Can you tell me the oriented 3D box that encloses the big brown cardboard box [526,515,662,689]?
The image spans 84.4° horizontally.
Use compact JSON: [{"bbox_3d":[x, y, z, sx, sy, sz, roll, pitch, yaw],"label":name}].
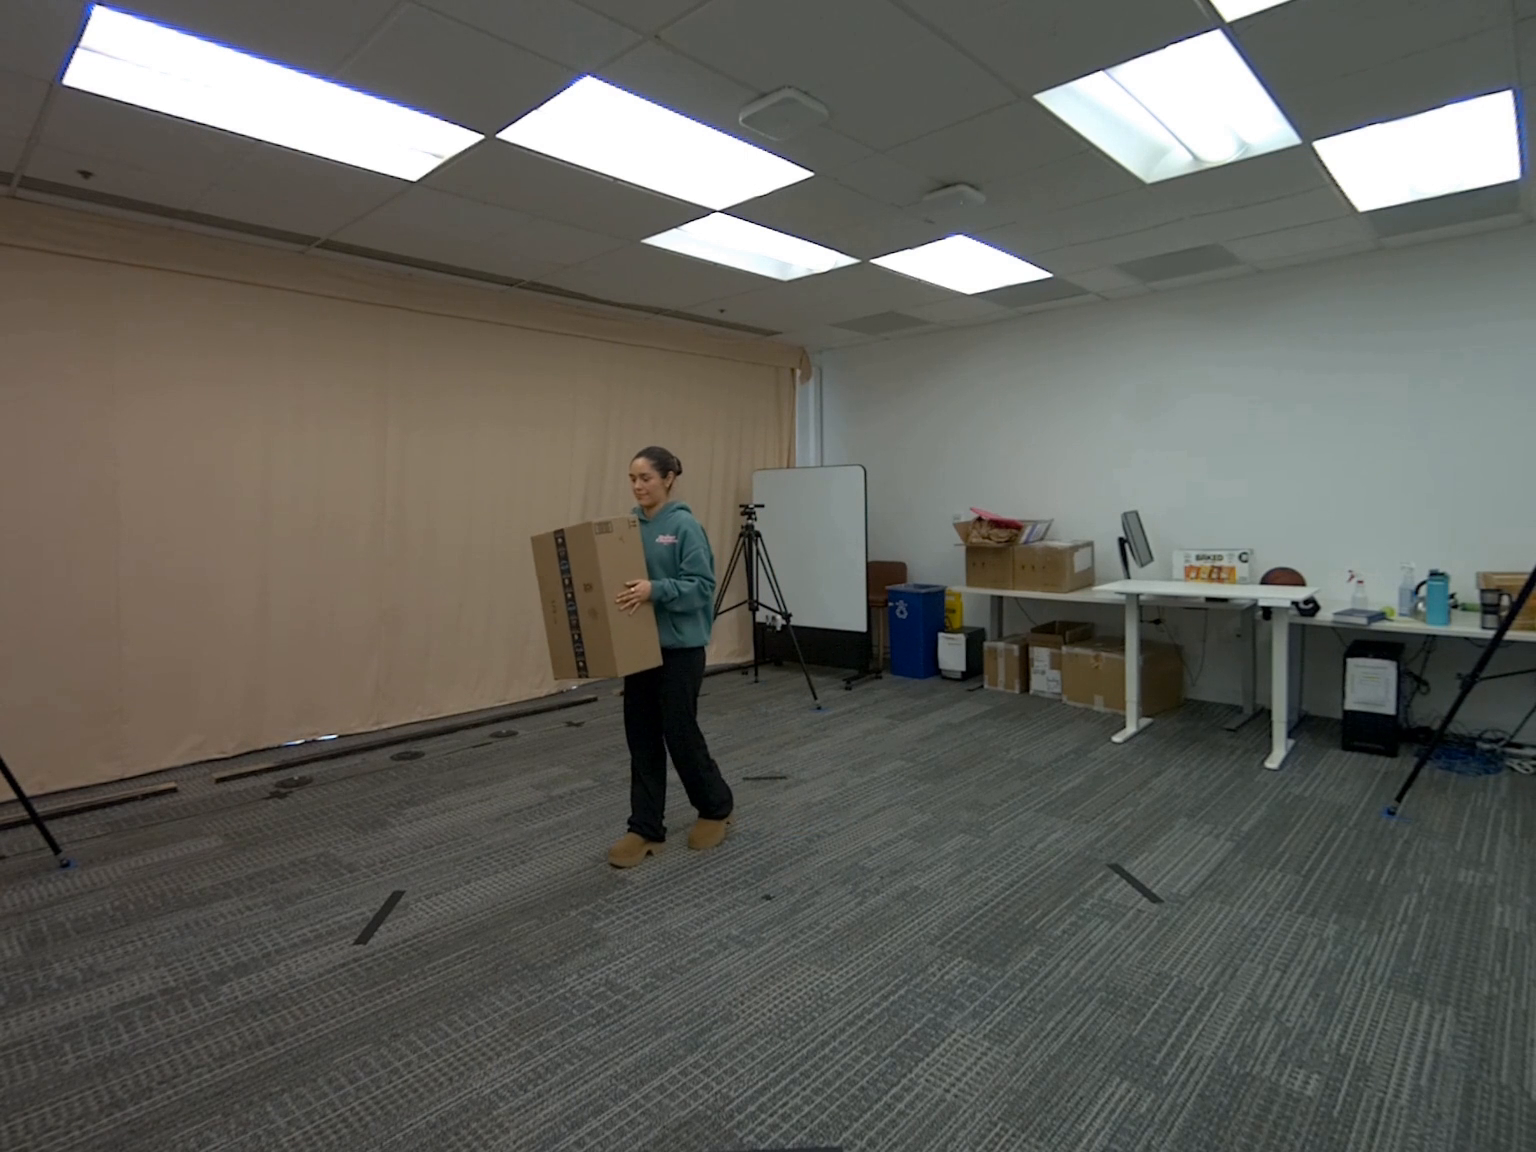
[{"bbox_3d":[-0.654,0.099,3.192,0.227,0.588,0.430,-11,2,-44],"label":"big brown cardboard box"}]
